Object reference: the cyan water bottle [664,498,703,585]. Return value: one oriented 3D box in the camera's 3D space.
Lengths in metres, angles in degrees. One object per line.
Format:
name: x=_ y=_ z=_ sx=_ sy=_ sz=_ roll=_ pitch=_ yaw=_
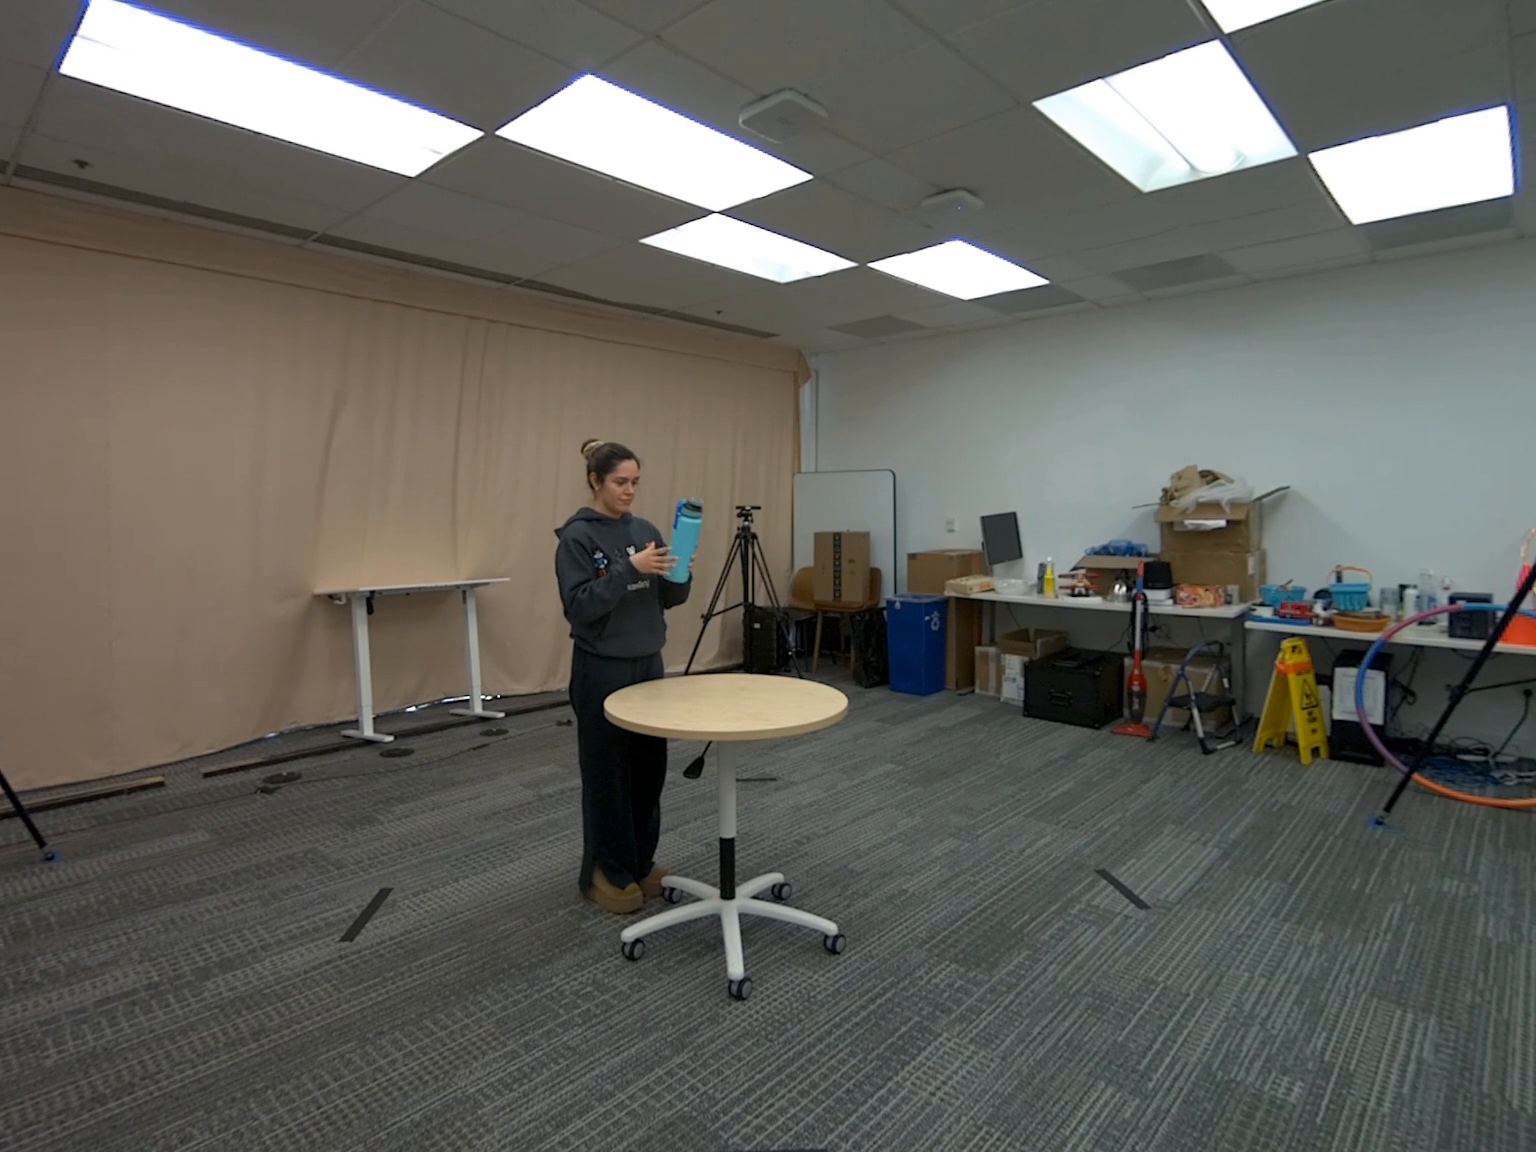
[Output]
cyan water bottle: x=-0.287 y=-0.099 z=2.819 sx=0.092 sy=0.282 sz=0.093 roll=11 pitch=16 yaw=-5
